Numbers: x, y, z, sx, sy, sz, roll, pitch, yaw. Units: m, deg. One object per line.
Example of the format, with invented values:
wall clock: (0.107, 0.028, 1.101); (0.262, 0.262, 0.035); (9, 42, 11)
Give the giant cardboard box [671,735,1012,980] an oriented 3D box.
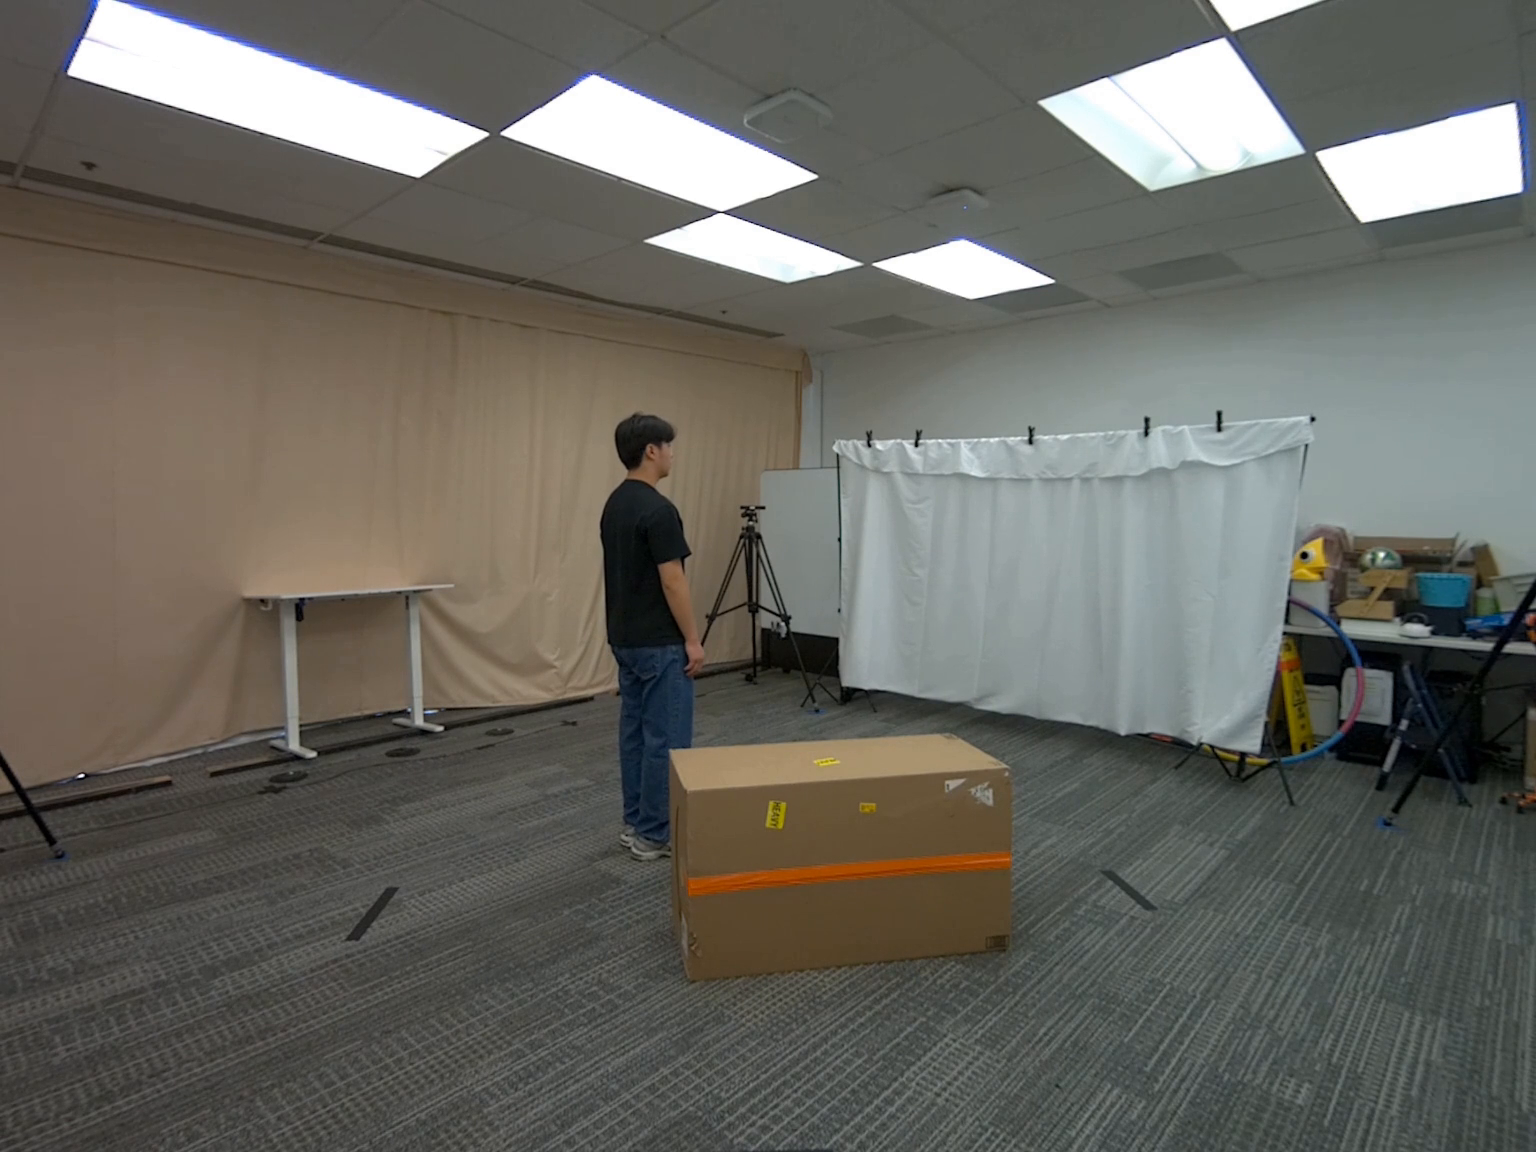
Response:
giant cardboard box: (0.216, 0.877, 2.733); (1.015, 0.582, 0.453); (-2, 5, -11)
